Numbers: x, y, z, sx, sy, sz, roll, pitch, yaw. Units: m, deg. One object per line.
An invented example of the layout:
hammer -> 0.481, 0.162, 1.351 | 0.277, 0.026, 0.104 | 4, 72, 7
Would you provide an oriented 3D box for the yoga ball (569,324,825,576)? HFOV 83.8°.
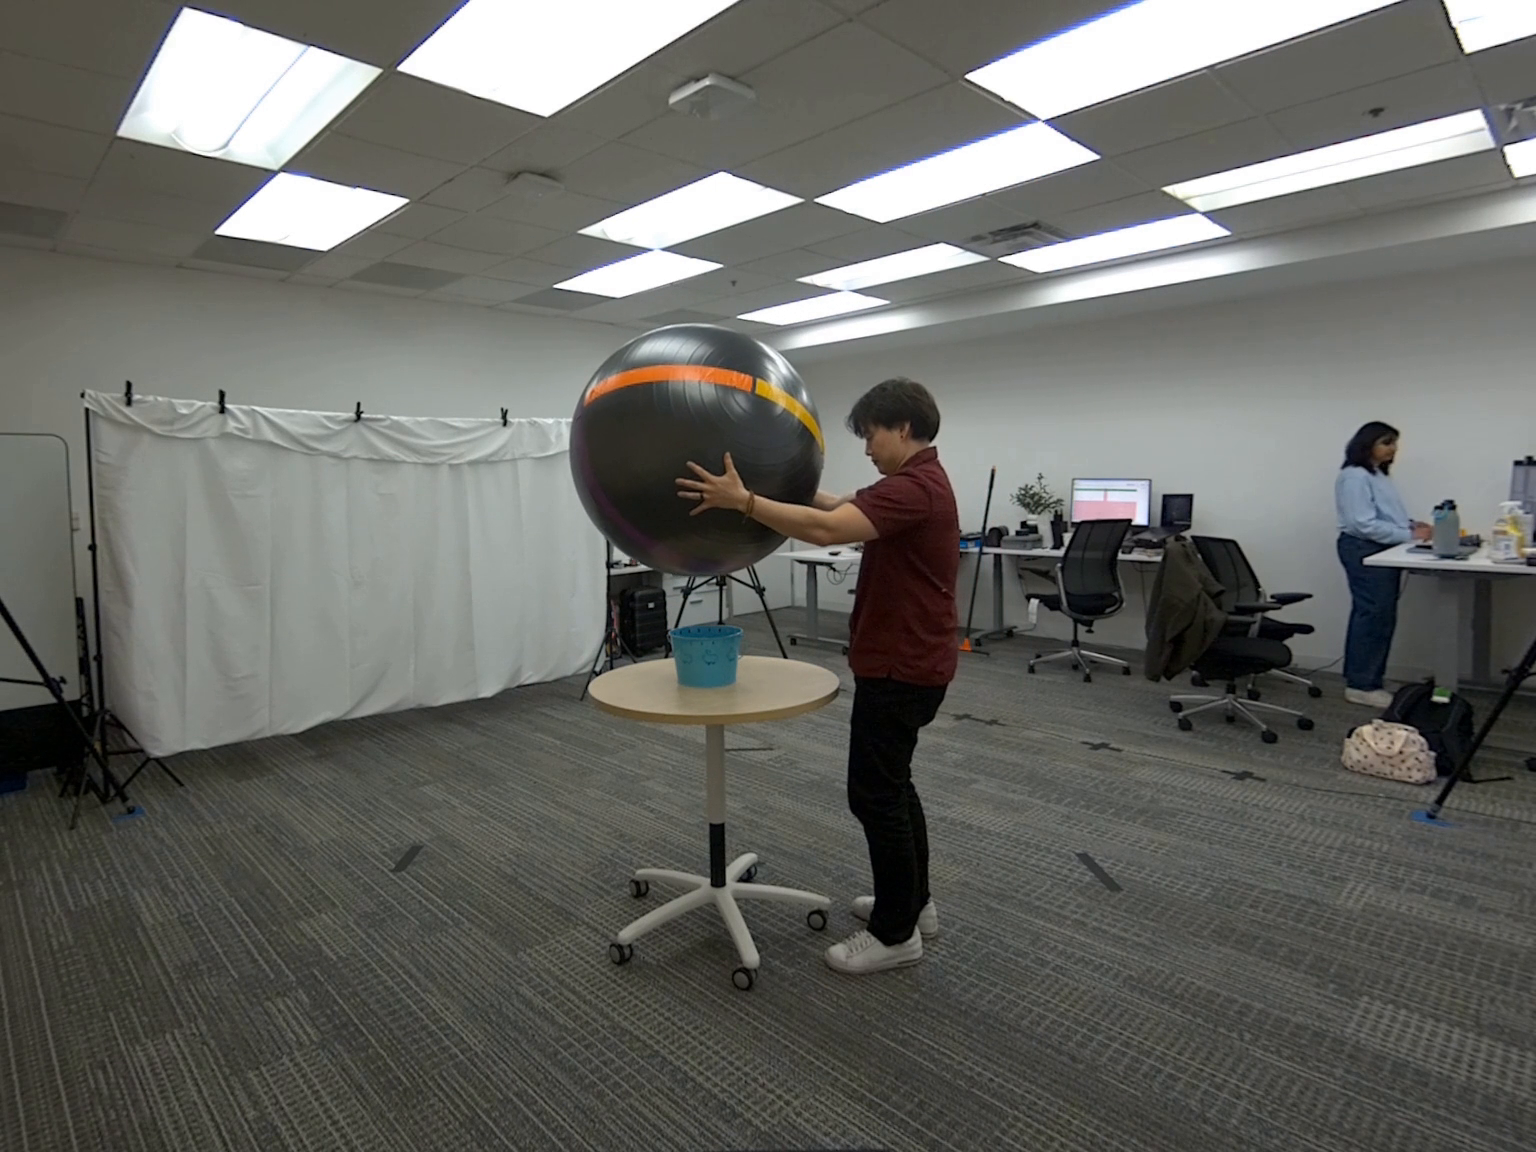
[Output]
yoga ball -> -0.214, -0.372, 2.581 | 0.757, 0.755, 0.762 | -1, 5, -2
